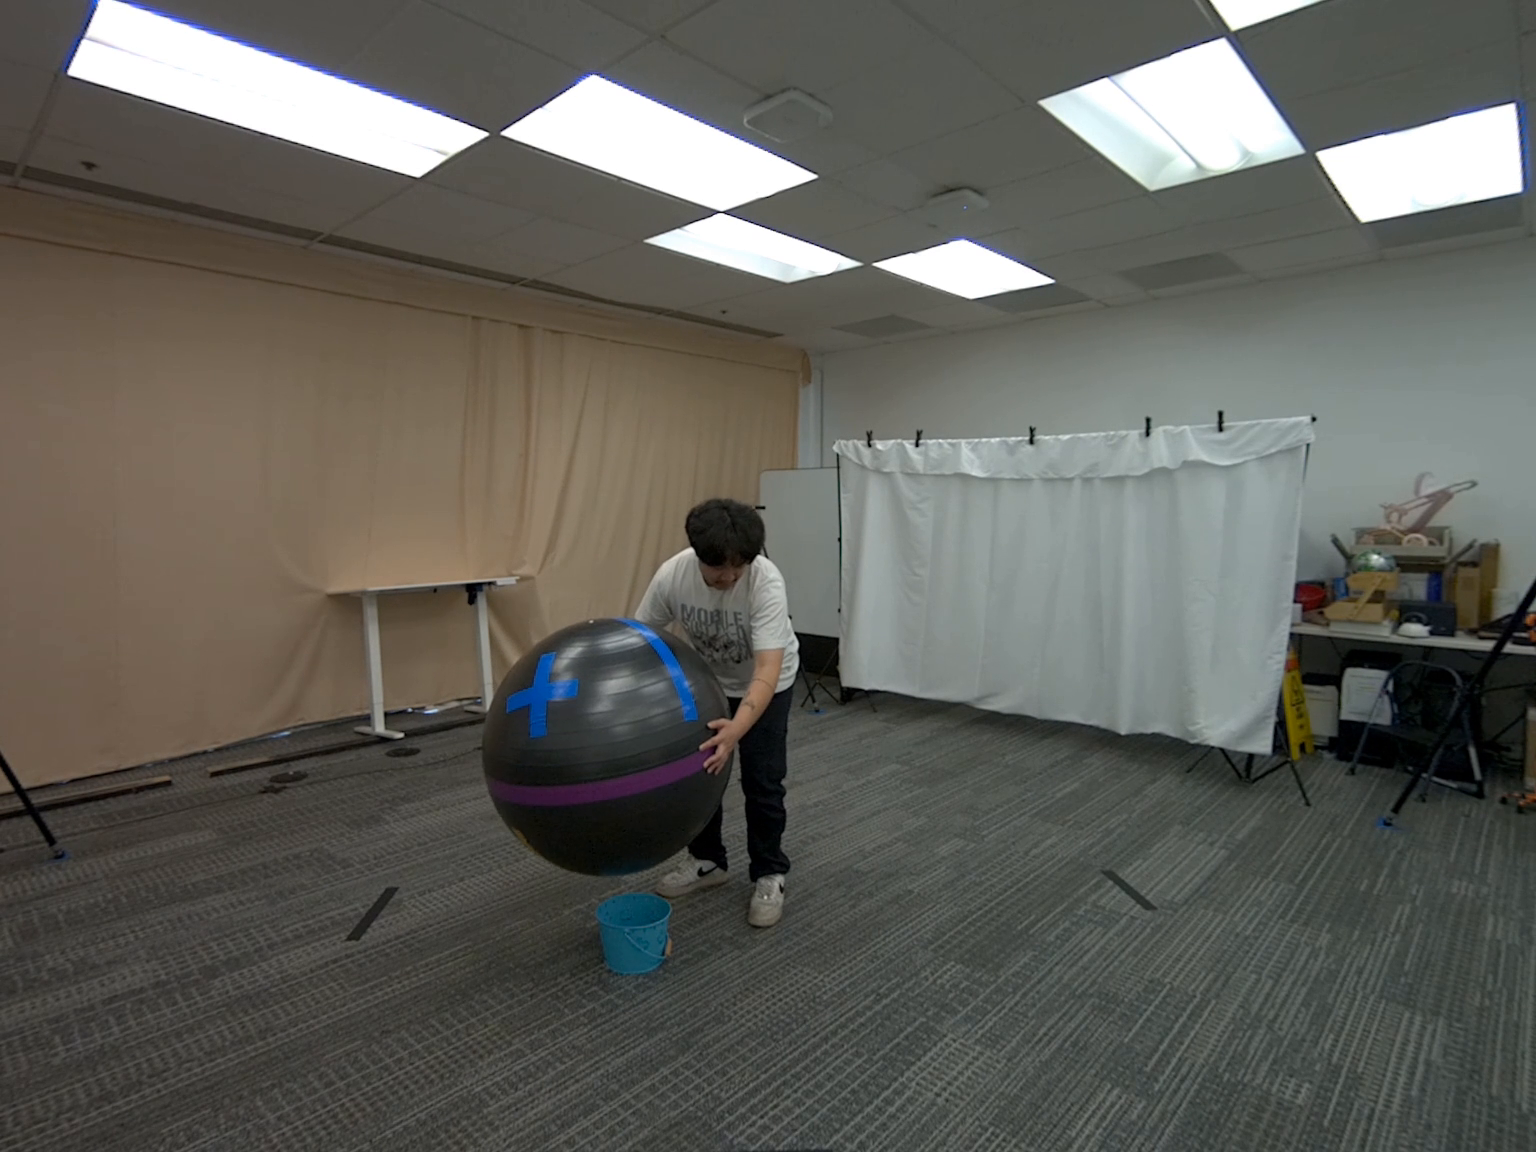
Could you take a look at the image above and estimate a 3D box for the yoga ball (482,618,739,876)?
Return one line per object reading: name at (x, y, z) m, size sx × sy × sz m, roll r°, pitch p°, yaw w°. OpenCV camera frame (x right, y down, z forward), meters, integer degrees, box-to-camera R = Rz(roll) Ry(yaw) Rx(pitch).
yoga ball at (-0.501, 0.510, 2.569) m, size 0.757 × 0.756 × 0.760 m, roll 0°, pitch 4°, yaw -2°
